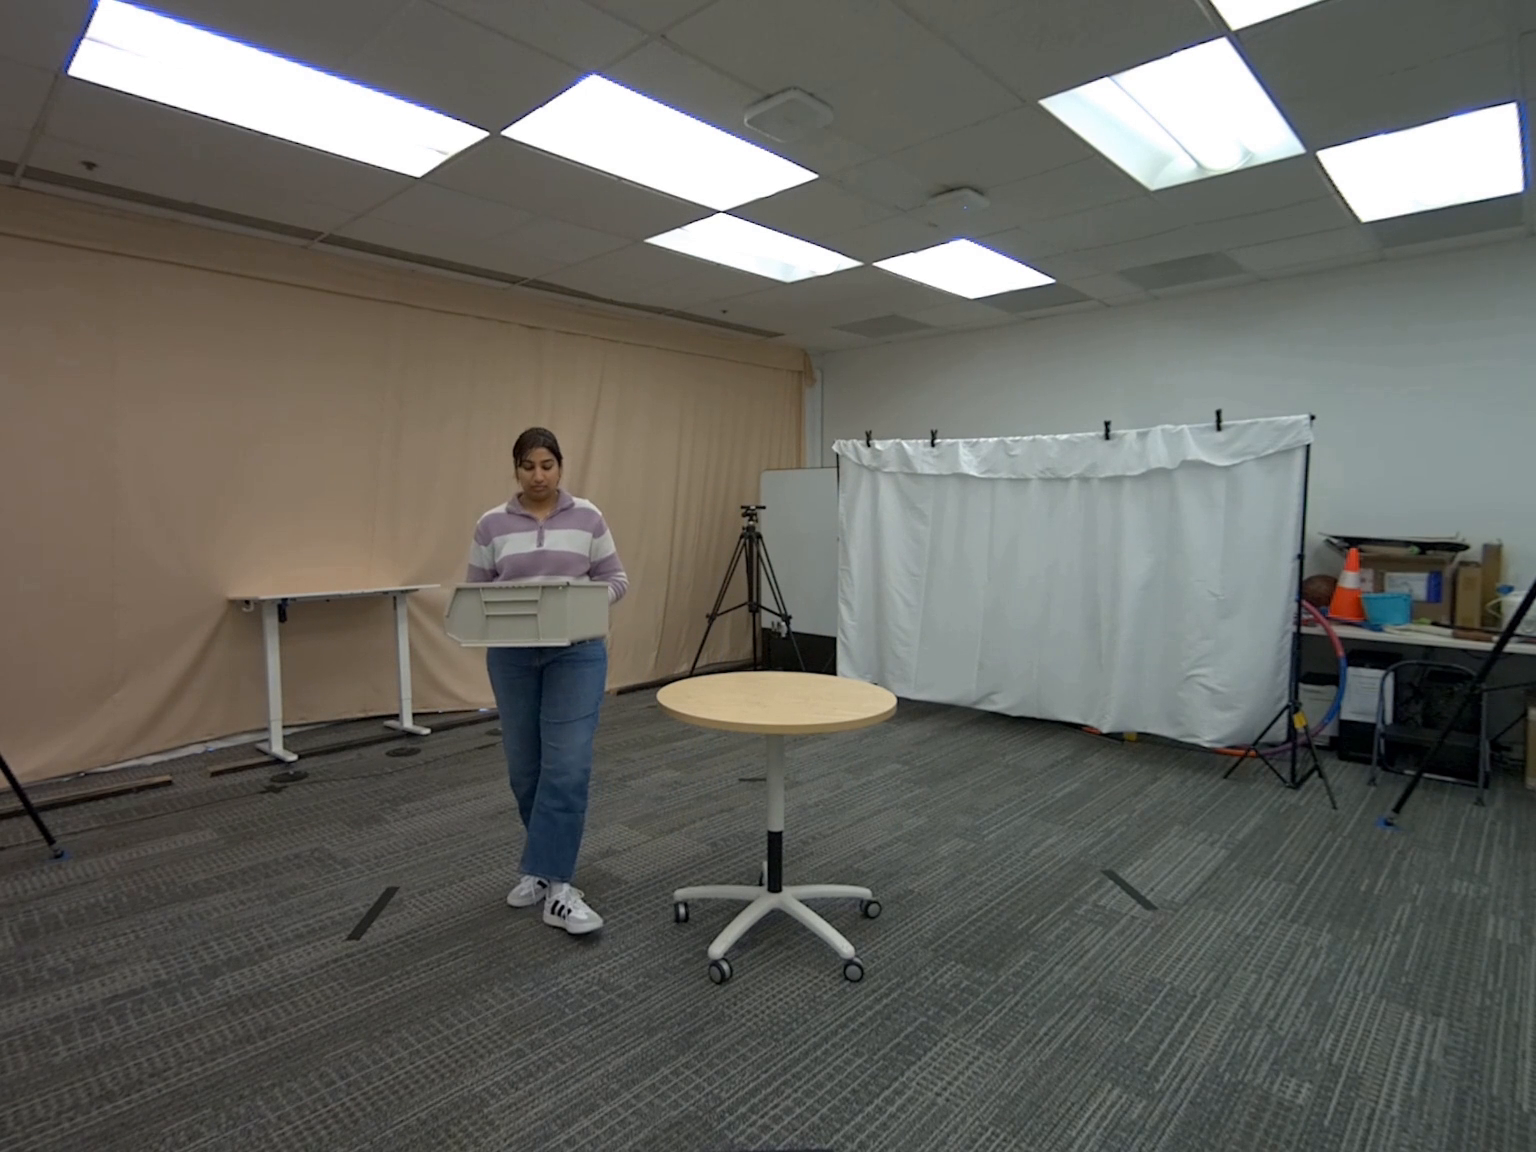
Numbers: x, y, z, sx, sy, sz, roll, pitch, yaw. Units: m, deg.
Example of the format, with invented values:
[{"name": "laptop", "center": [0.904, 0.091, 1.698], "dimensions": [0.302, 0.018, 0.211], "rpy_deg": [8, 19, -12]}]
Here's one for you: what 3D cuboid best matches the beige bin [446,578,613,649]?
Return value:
[{"name": "beige bin", "center": [-0.719, 0.111, 2.545], "dimensions": [0.382, 0.189, 0.417], "rpy_deg": [0, -2, 10]}]
